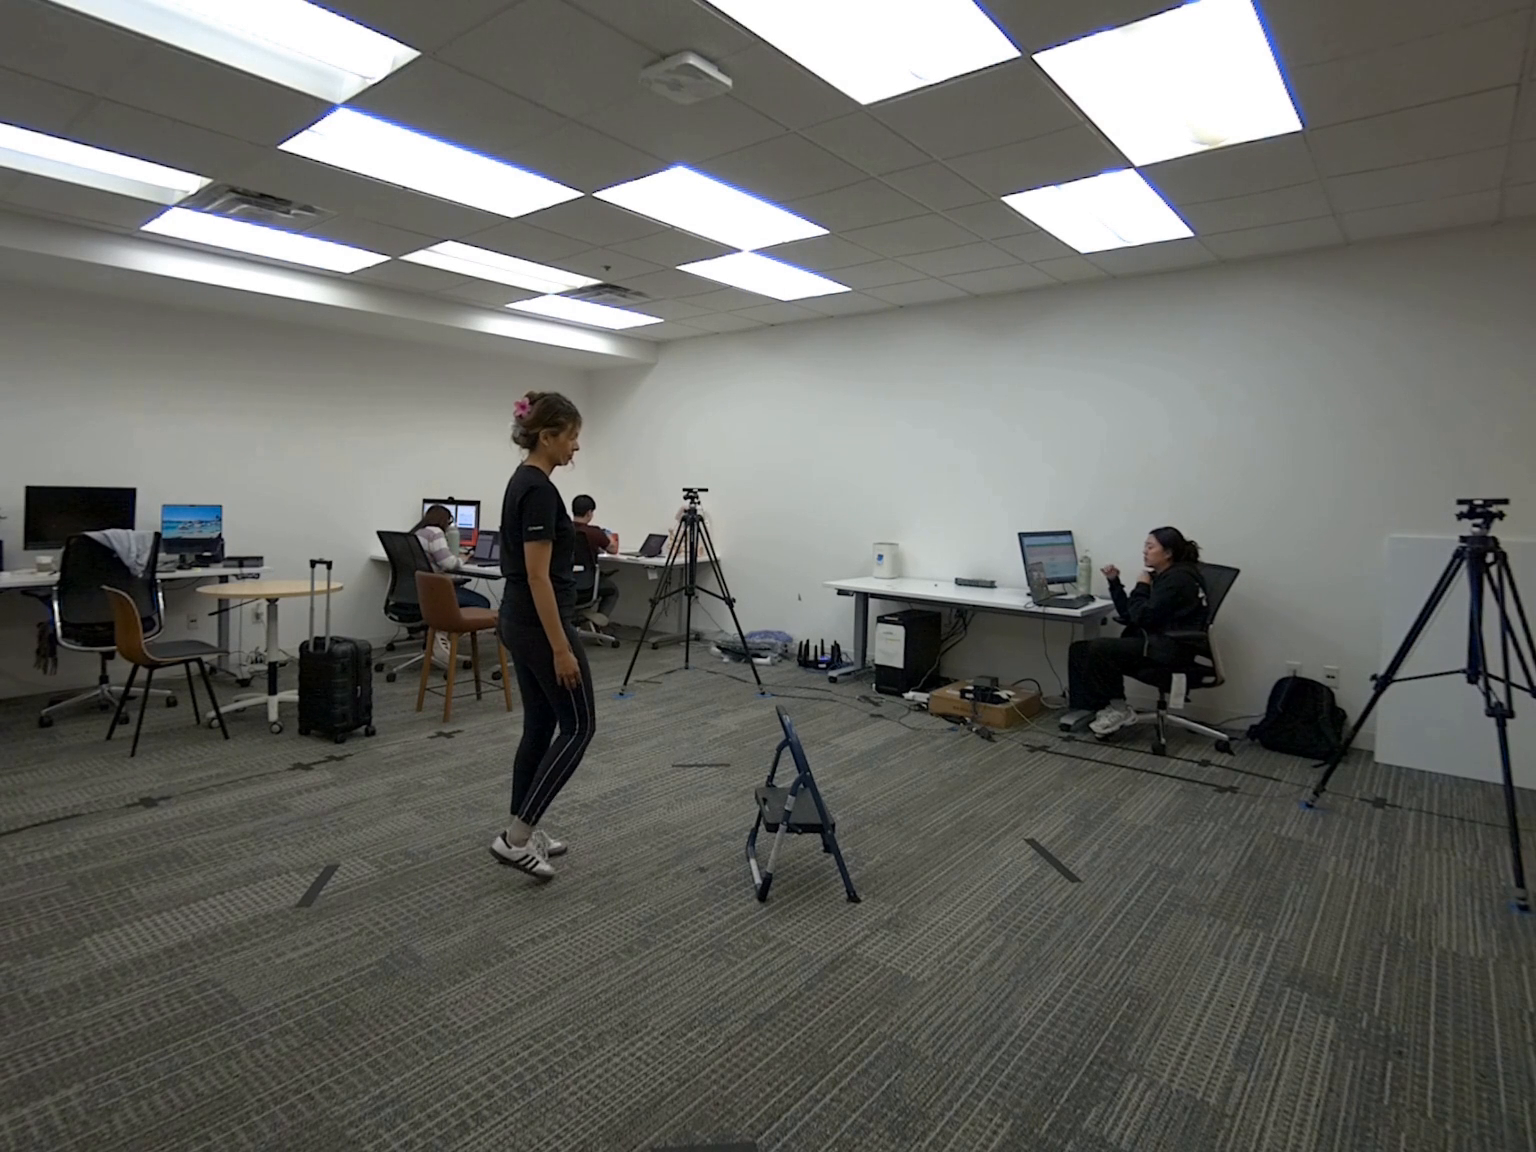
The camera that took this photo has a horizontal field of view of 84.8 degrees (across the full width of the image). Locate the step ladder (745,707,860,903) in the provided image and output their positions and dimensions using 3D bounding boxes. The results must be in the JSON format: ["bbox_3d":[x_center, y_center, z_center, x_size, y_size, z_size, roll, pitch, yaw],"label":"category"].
[{"bbox_3d":[0.109,0.782,3.063,0.347,0.605,0.435,2,3,-7],"label":"step ladder"}]
